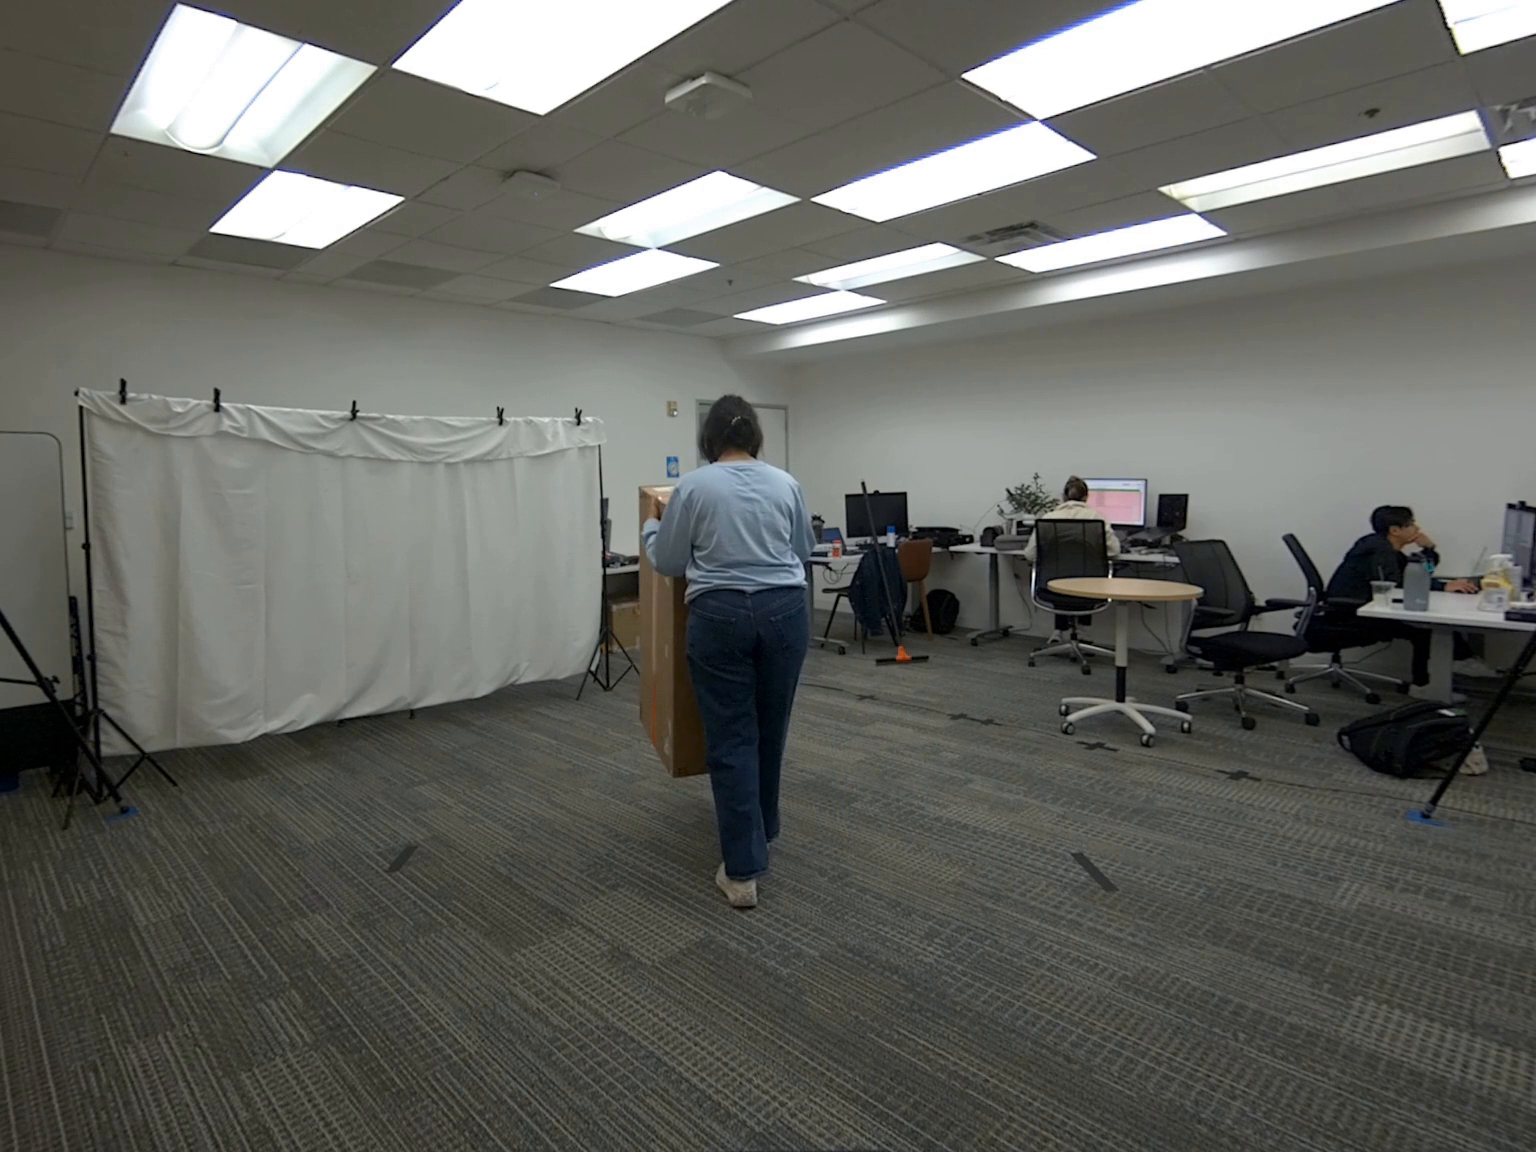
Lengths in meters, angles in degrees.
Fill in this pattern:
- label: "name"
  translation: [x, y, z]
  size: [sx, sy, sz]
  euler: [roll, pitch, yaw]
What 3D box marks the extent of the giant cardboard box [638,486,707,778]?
- label: "giant cardboard box"
  translation: [-0.252, 0.183, 3.415]
  size: [0.440, 1.016, 0.600]
  euler: [-3, 13, -19]
